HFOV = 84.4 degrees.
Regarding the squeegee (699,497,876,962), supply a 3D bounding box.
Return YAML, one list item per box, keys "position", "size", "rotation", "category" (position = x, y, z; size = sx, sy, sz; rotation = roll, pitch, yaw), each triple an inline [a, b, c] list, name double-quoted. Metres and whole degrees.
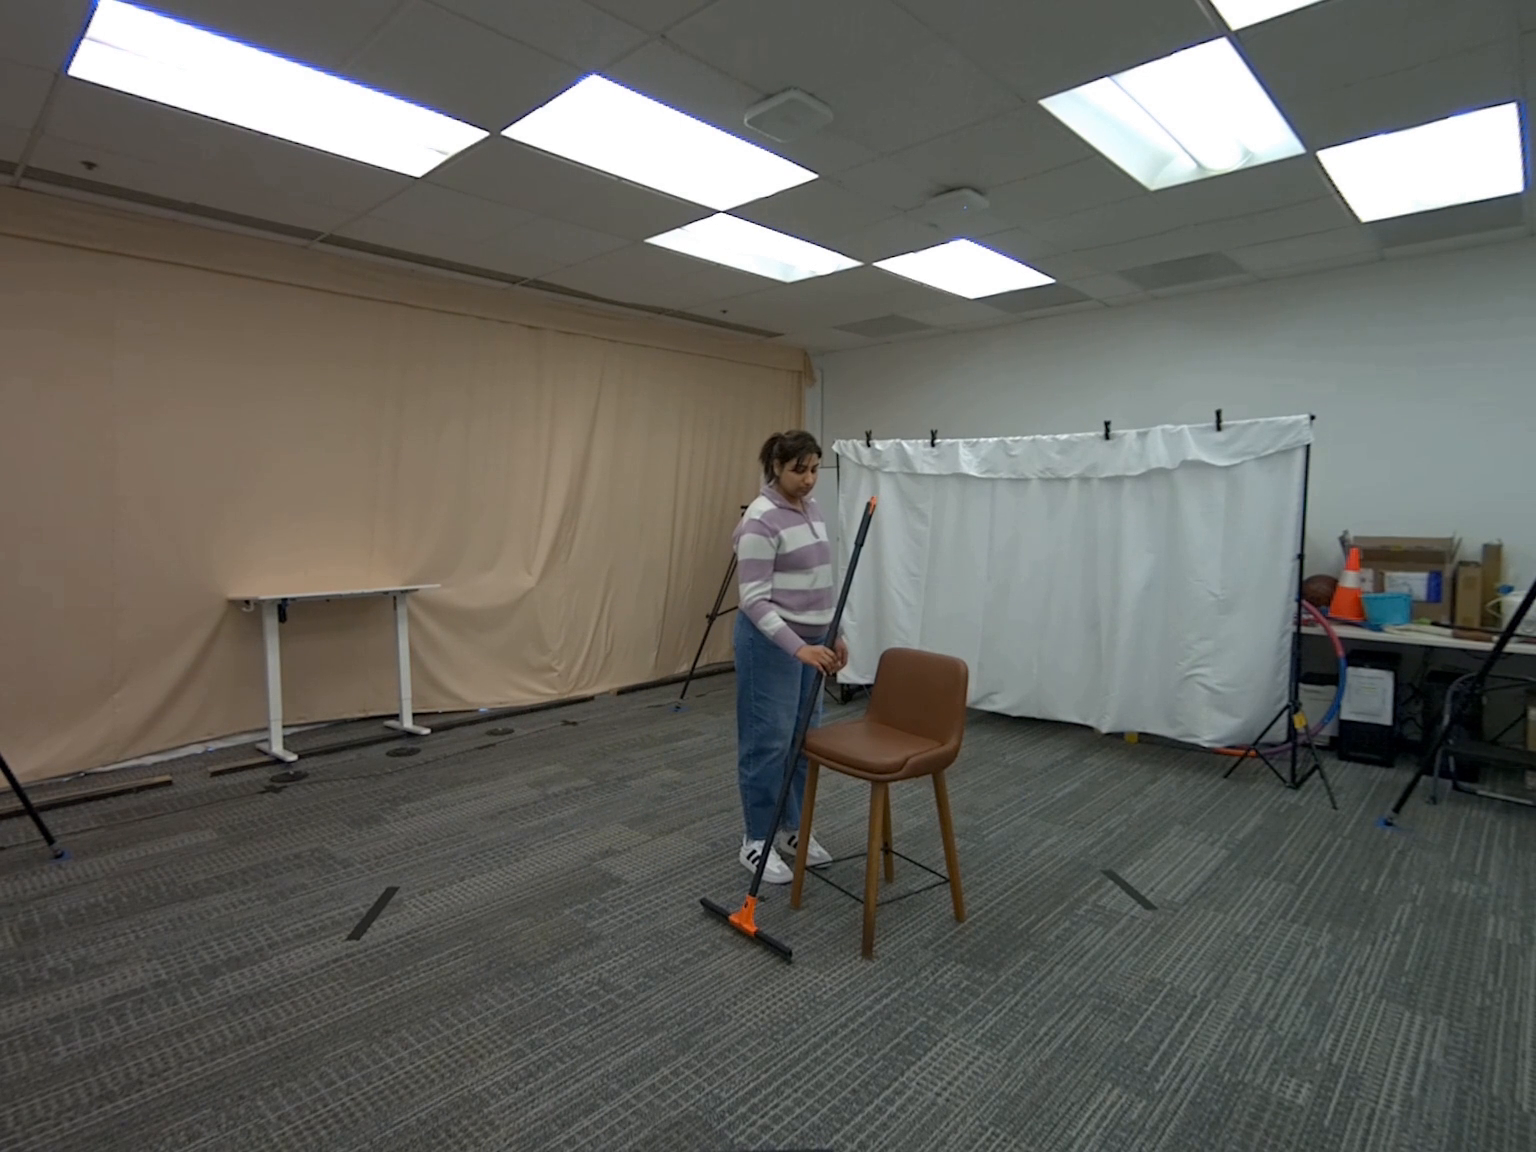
- position: [0.140, 0.430, 2.850]
  size: [0.051, 1.542, 0.452]
  rotation: [25, -13, -41]
  category: "squeegee"
